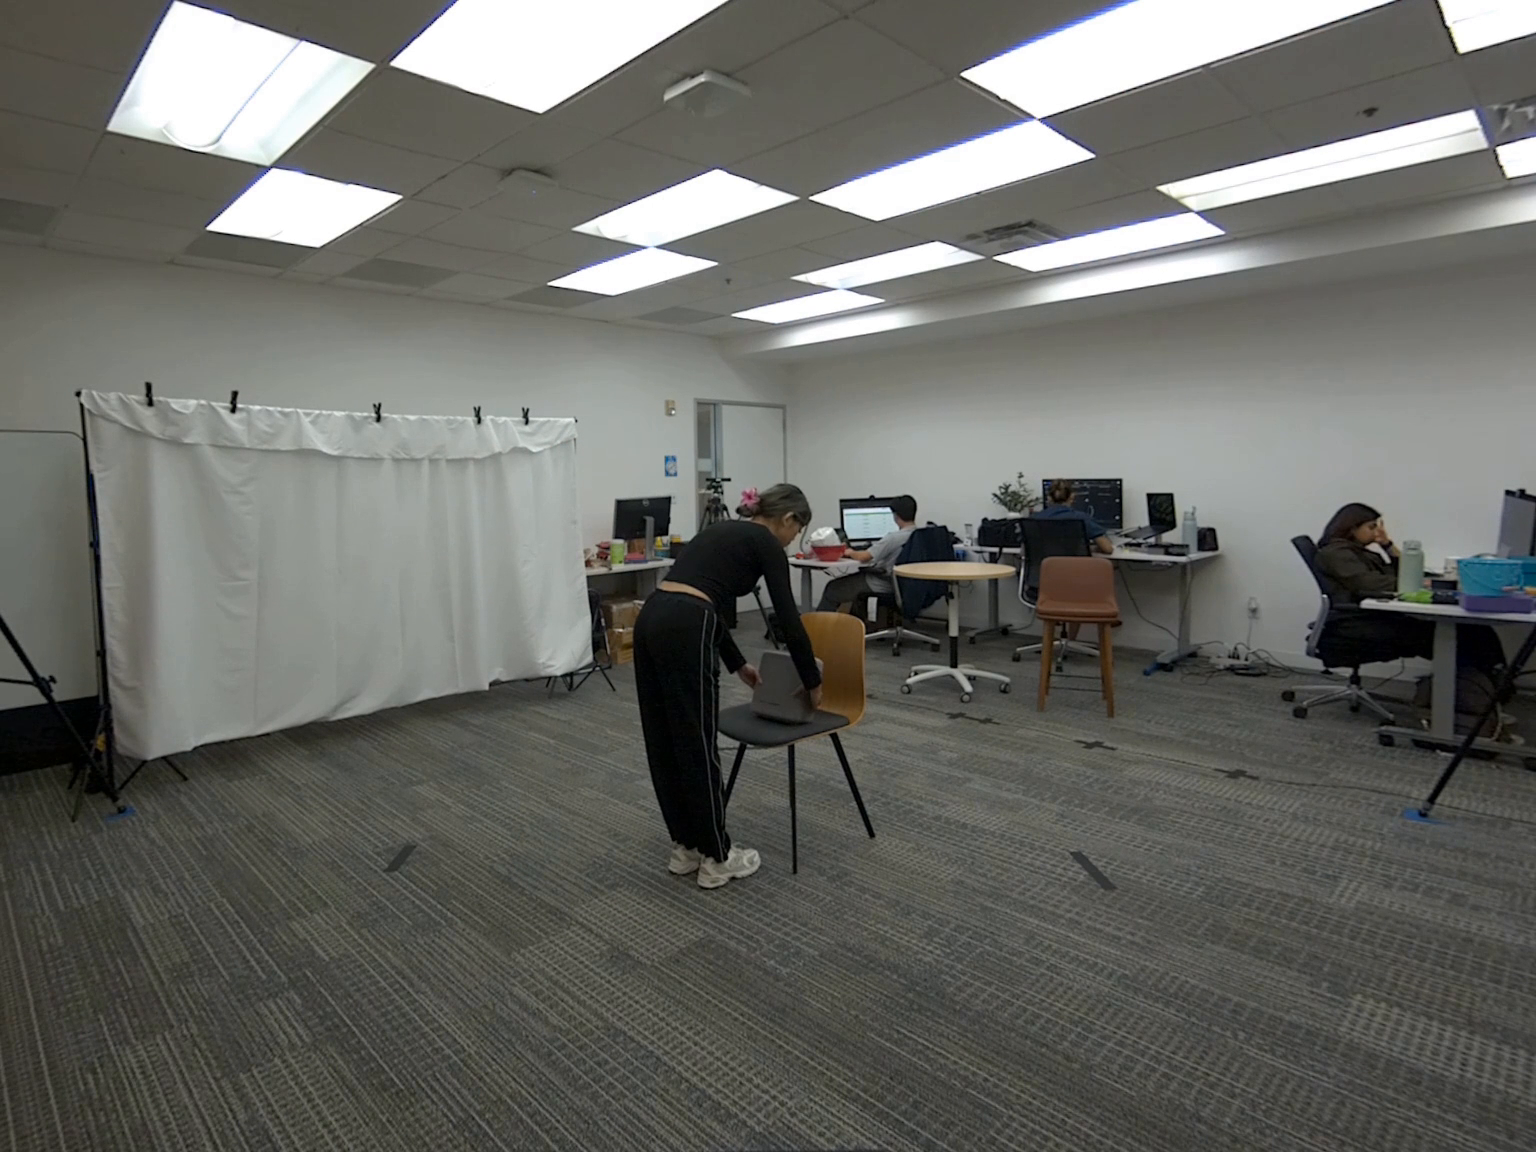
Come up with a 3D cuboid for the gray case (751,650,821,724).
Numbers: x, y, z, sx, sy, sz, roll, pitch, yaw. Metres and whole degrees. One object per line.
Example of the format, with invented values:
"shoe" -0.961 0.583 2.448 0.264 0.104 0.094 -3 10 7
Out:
"gray case" 0.072 0.412 3.249 0.265 0.262 0.100 5 -11 45
